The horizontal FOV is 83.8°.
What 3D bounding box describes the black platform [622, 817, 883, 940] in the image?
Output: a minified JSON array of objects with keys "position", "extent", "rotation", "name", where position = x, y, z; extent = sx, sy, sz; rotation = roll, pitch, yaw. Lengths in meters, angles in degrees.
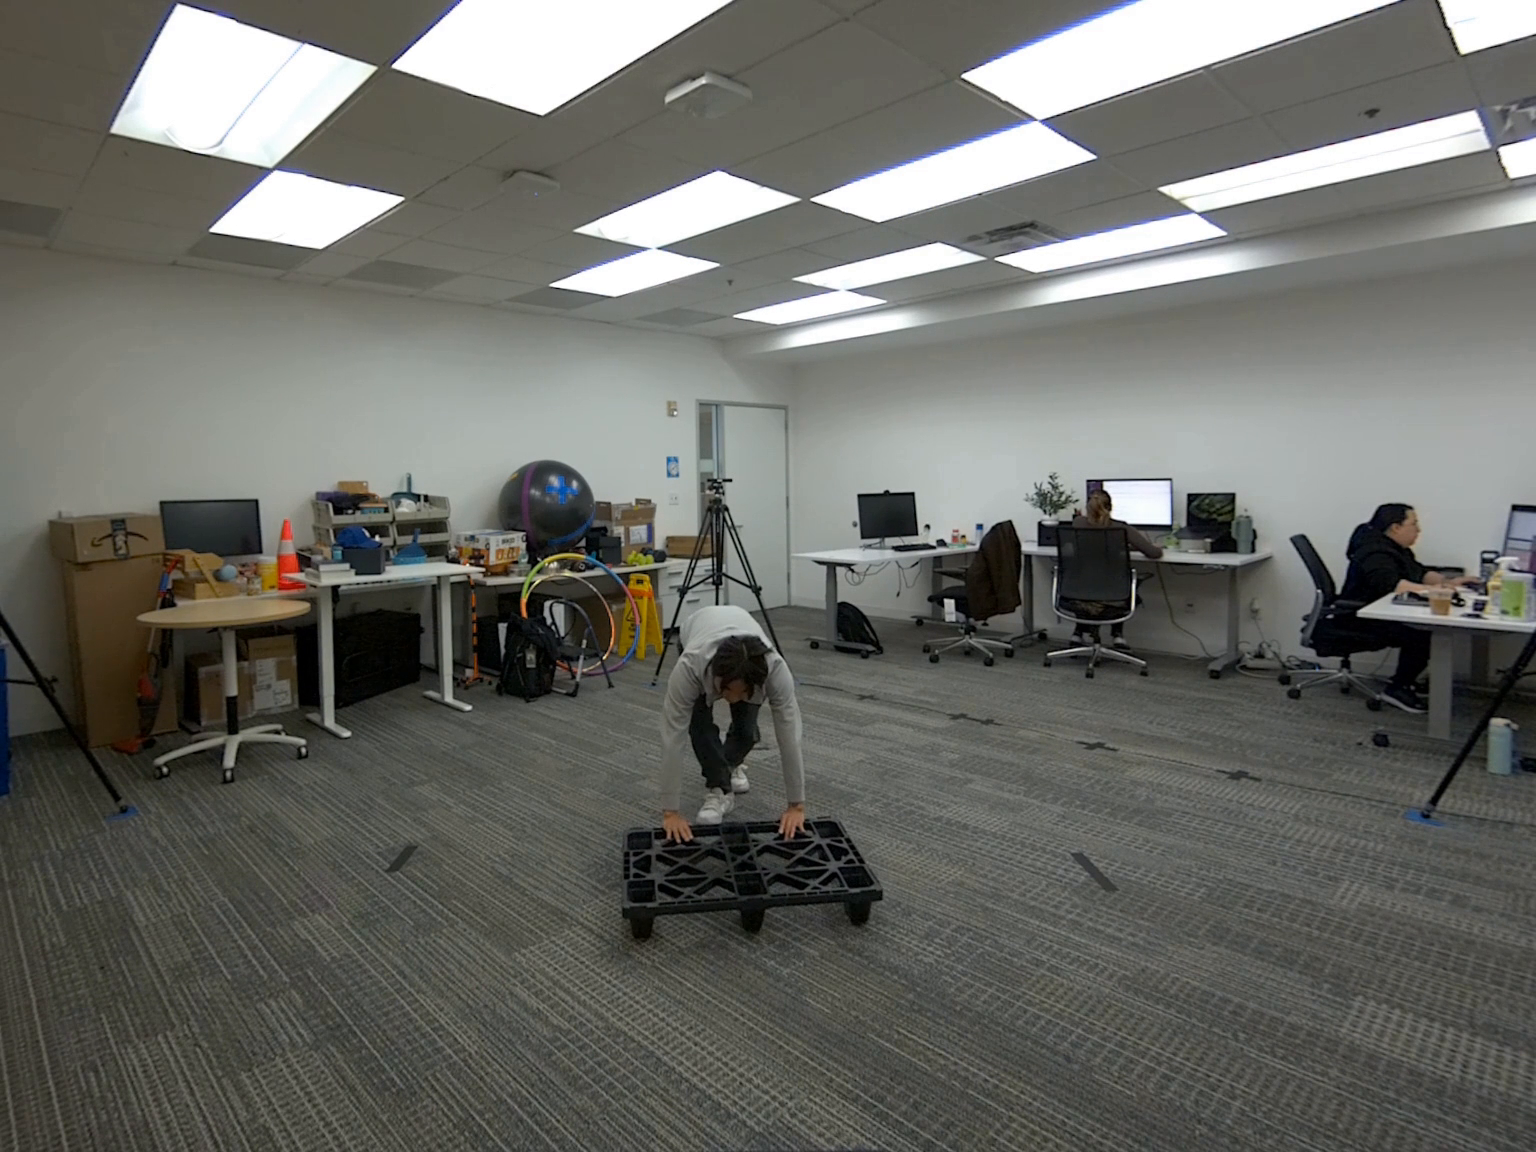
[{"position":[-0.081,1.003,2.859],"extent":[0.801,0.142,0.612],"rotation":[-2,7,-7],"name":"black platform"}]
